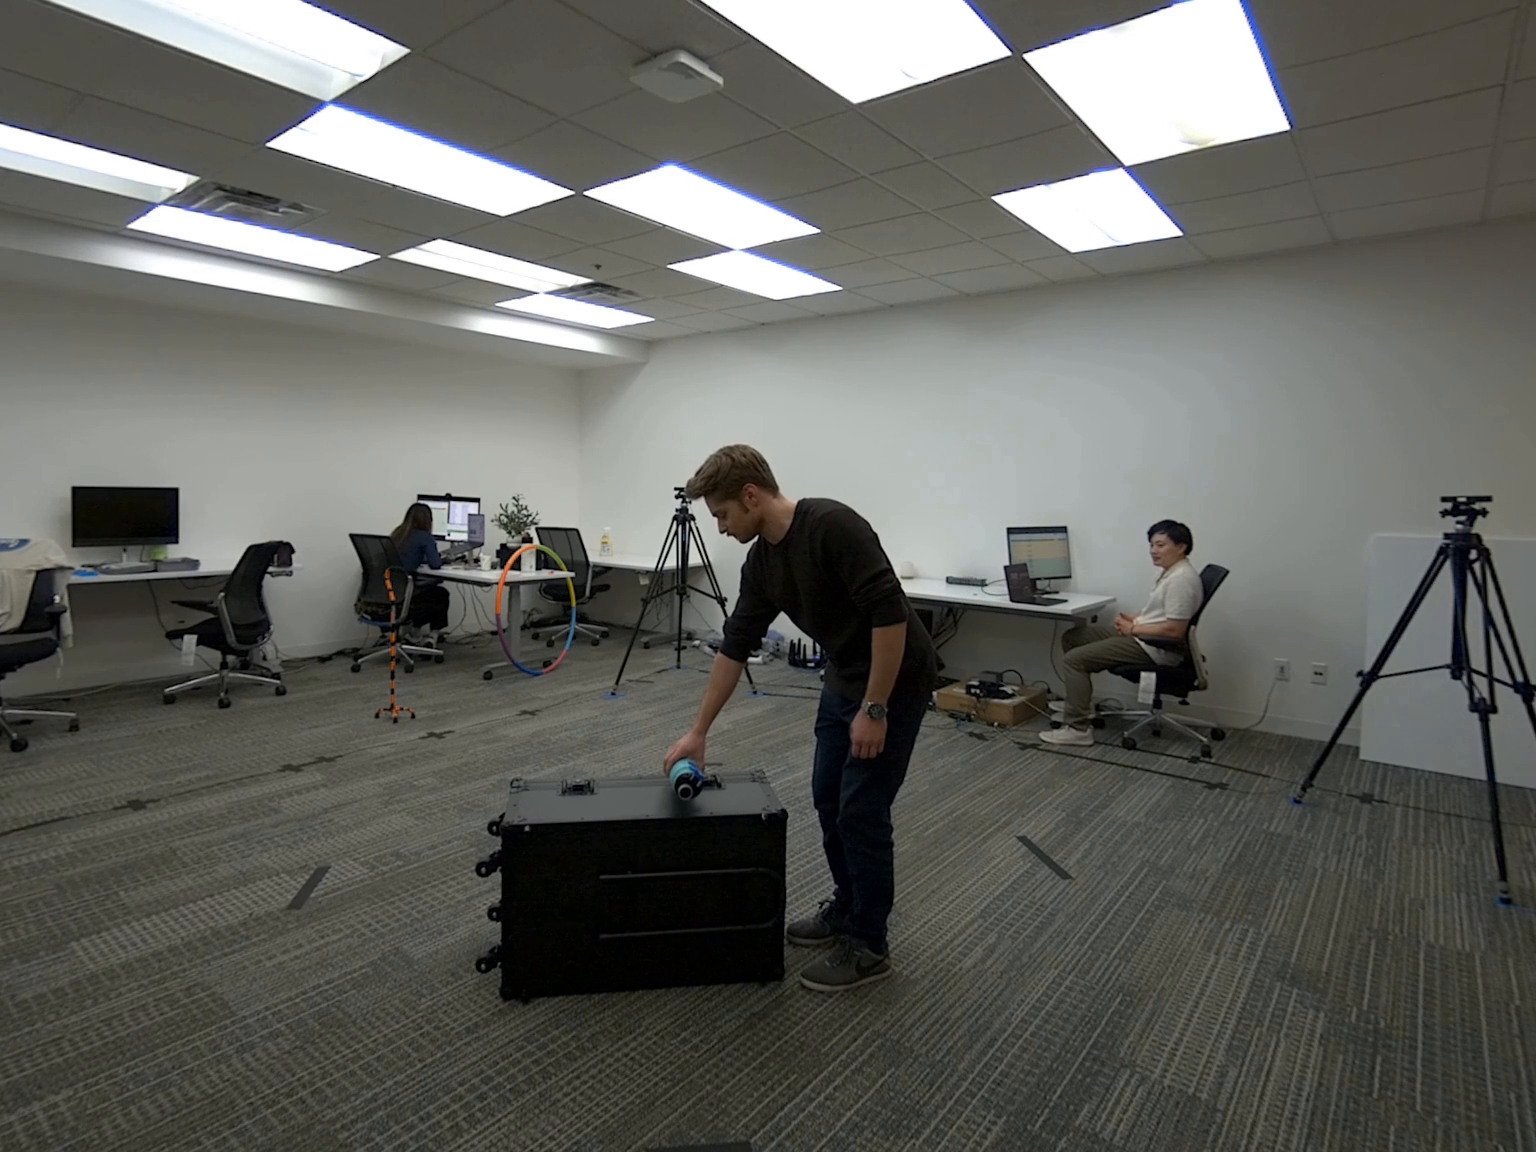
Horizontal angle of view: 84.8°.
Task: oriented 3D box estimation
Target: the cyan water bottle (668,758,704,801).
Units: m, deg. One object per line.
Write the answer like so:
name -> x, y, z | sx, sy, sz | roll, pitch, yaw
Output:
cyan water bottle -> -0.255, 0.577, 2.483 | 0.091, 0.092, 0.287 | 0, 3, -13
